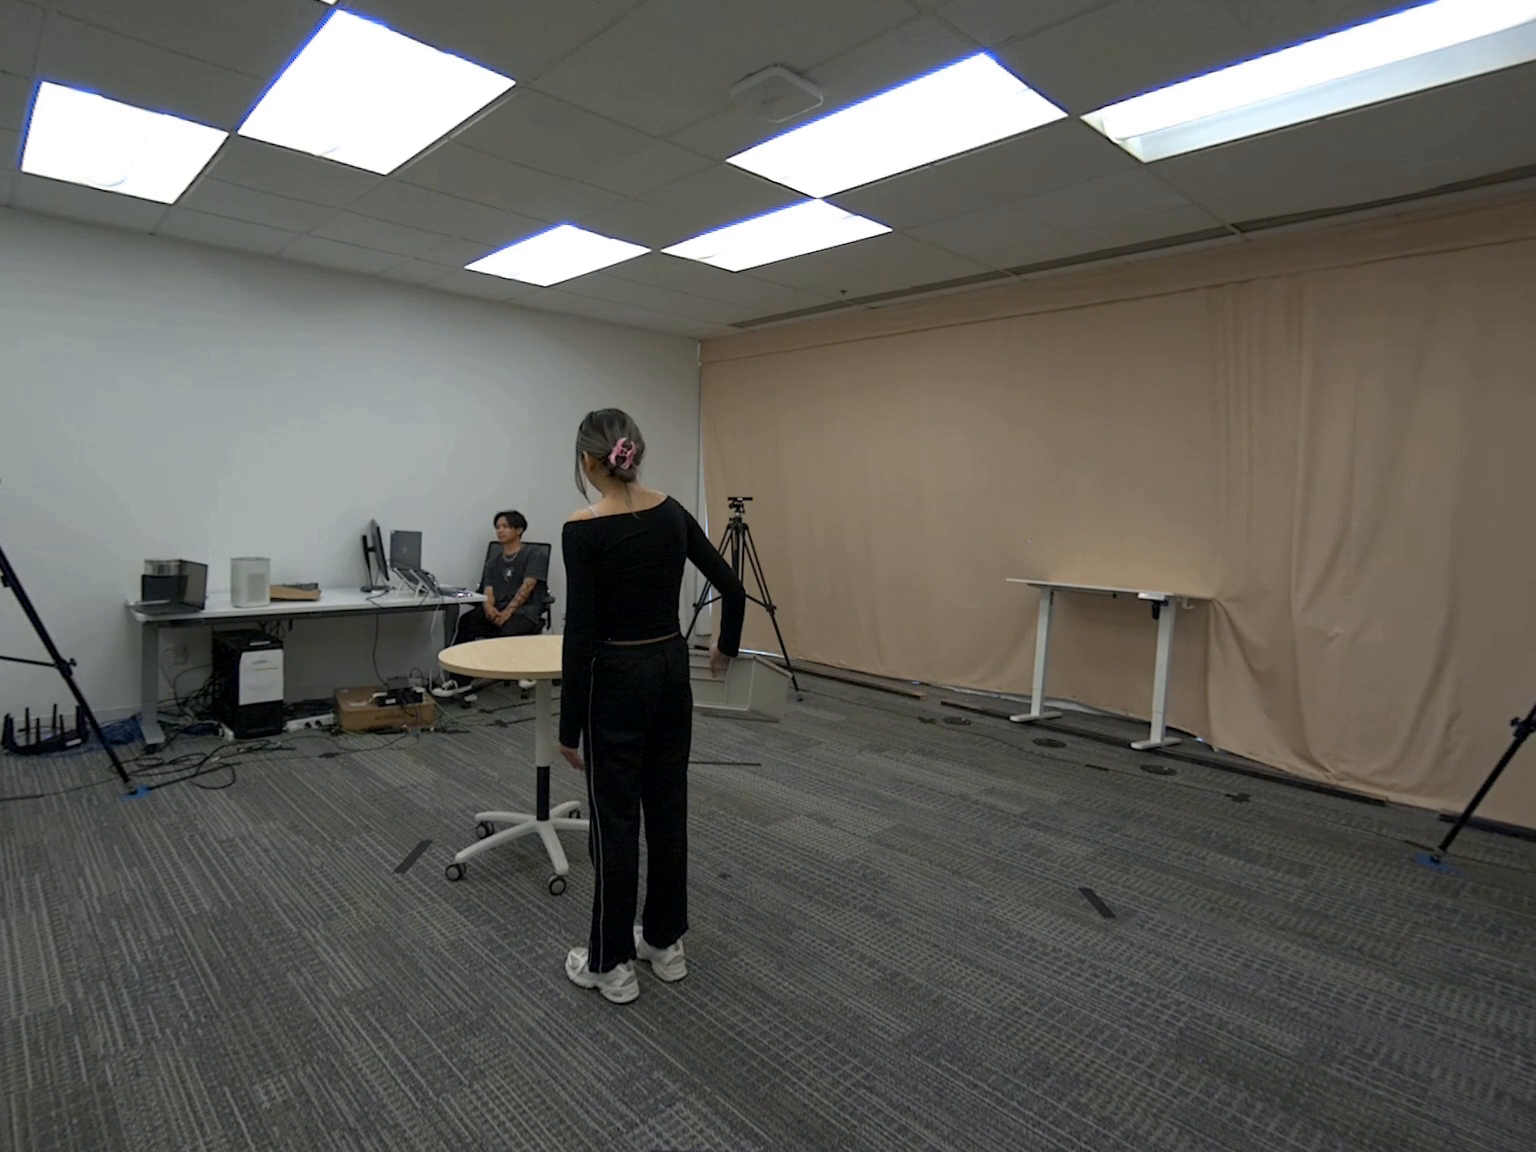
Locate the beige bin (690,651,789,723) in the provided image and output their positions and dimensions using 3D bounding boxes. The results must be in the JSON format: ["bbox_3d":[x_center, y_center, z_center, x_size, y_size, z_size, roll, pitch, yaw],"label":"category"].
[{"bbox_3d":[-0.169,0.381,2.892,0.383,0.190,0.412,4,-13,20],"label":"beige bin"}]
